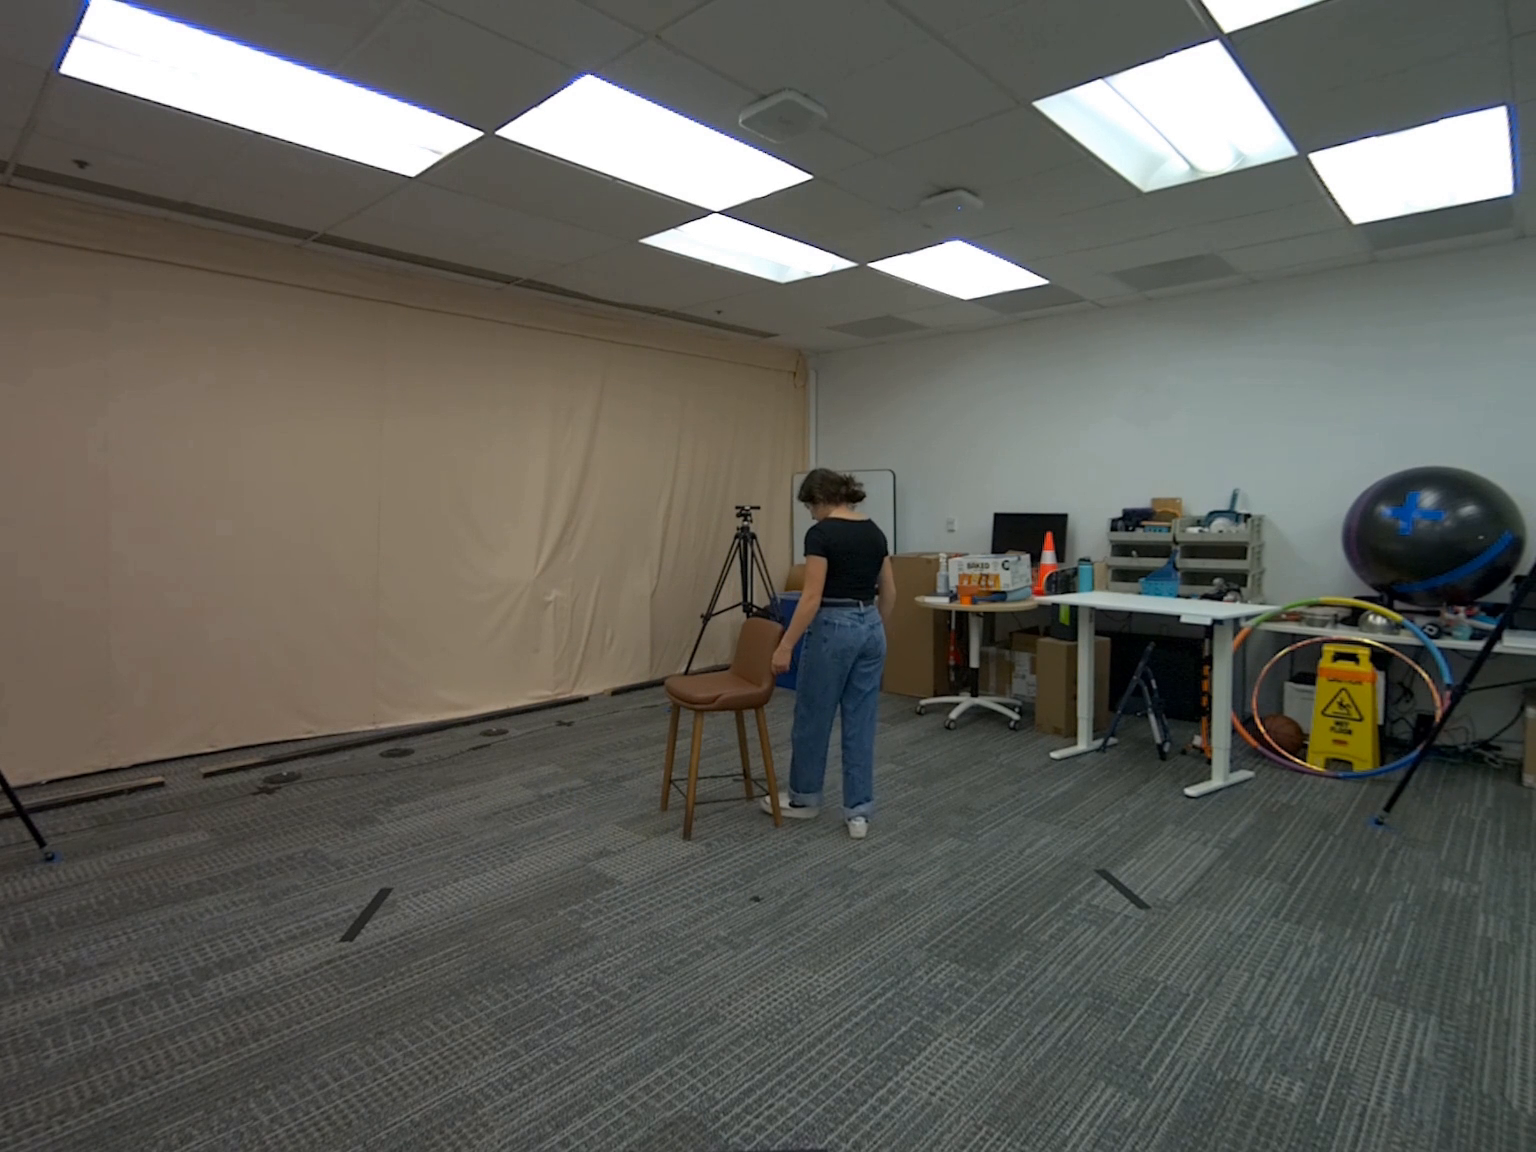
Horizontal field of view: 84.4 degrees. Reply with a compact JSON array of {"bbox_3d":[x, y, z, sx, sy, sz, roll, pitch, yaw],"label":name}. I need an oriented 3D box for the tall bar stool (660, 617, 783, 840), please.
[{"bbox_3d":[-0.210,0.647,3.749,0.458,0.888,0.467,1,2,-21],"label":"tall bar stool"}]
